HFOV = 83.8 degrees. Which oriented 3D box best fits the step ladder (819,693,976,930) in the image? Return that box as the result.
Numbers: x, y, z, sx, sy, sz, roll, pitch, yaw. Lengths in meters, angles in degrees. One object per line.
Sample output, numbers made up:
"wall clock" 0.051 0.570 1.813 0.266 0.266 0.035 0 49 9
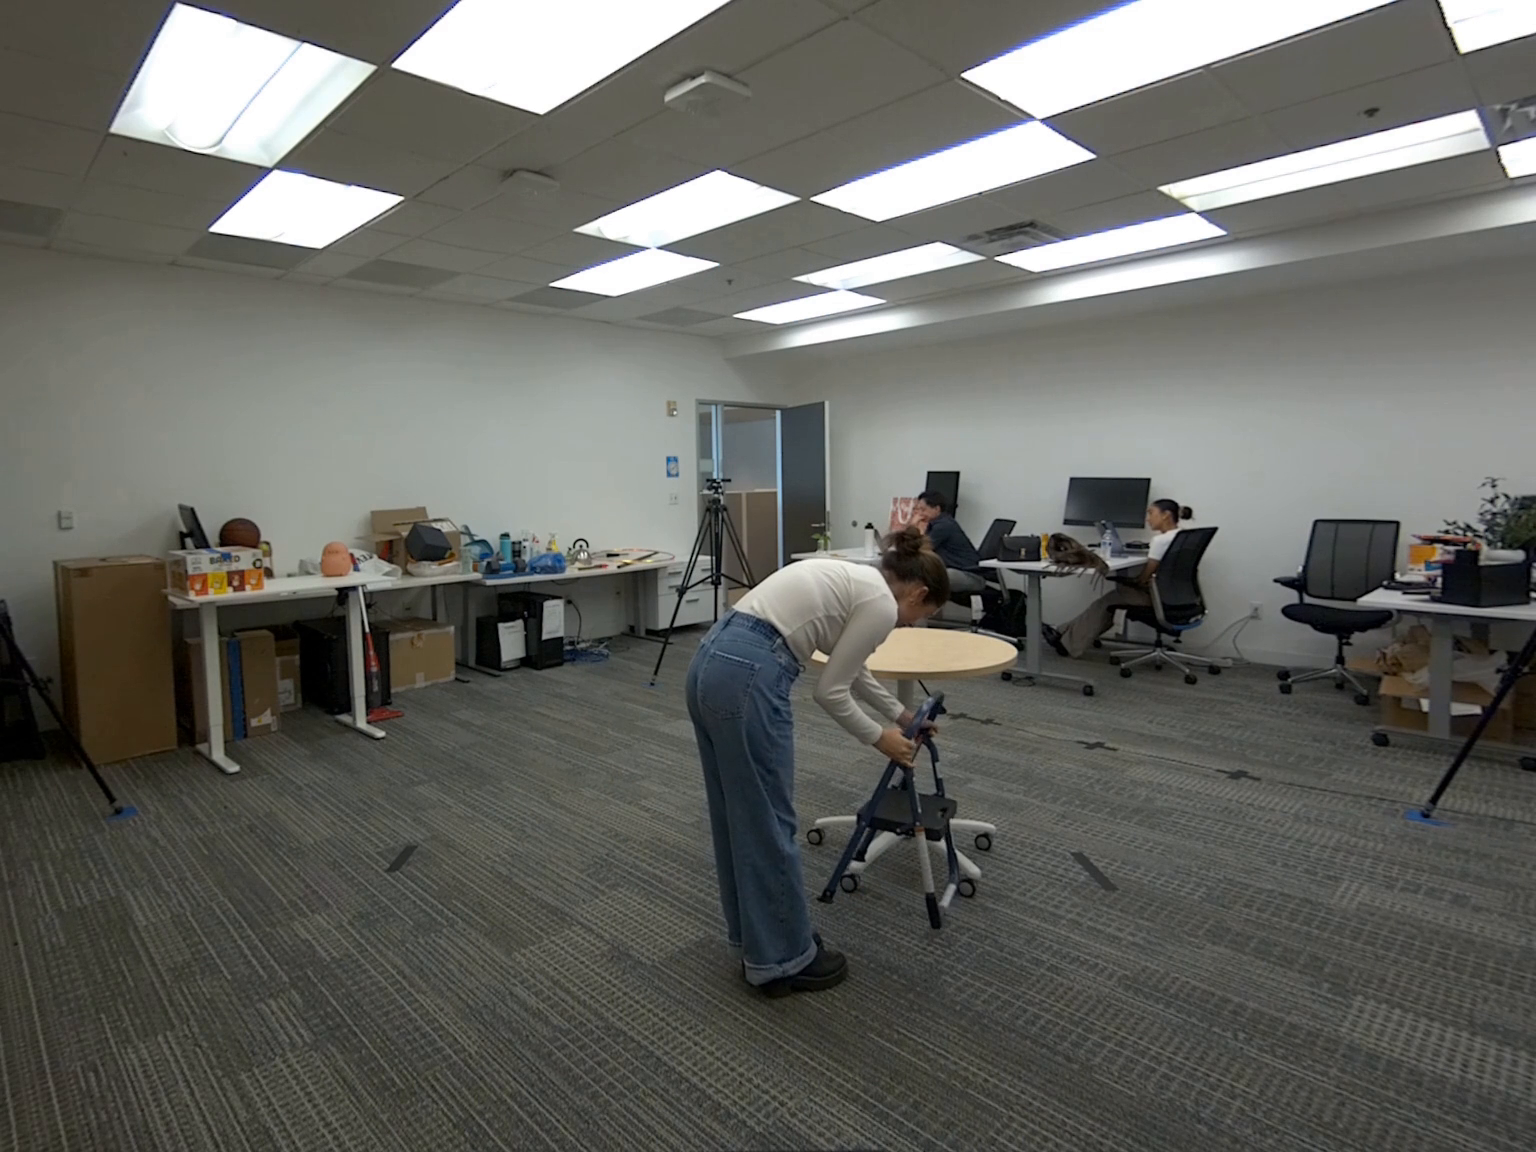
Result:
"step ladder" 0.399 0.648 2.574 0.357 0.606 0.421 5 -1 21
